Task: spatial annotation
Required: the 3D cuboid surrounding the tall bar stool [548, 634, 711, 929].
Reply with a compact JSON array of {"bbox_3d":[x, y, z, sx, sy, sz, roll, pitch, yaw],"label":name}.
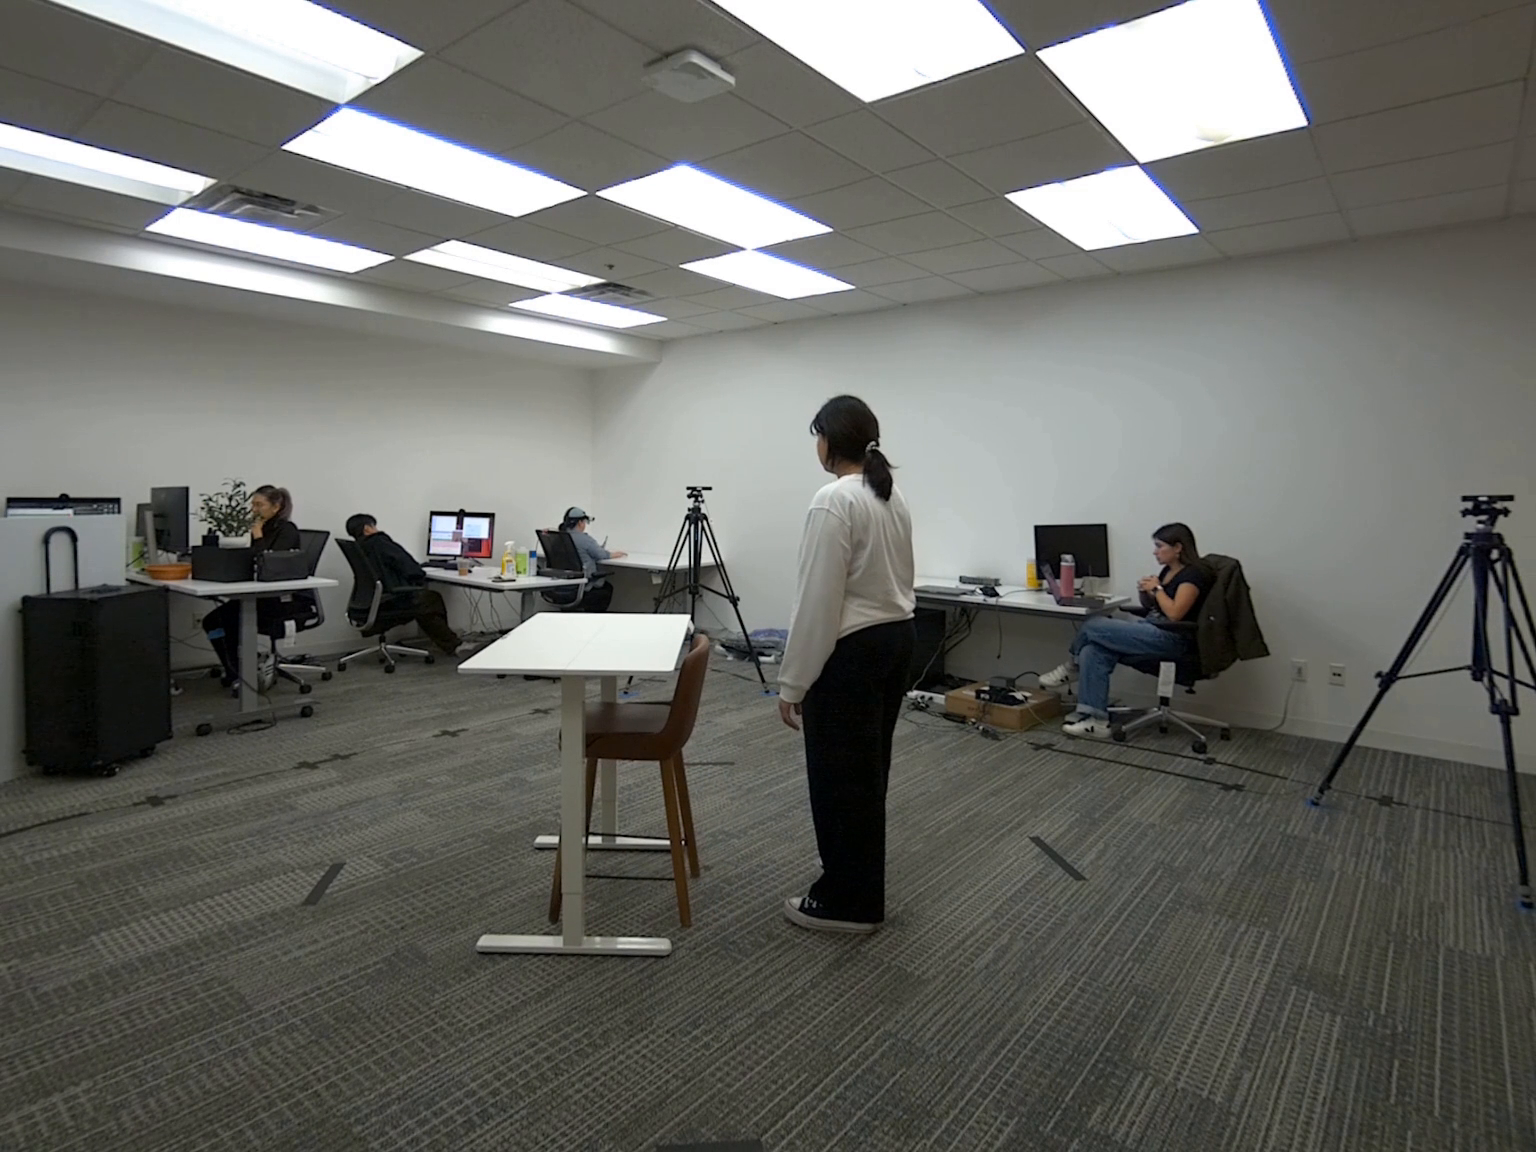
[{"bbox_3d":[-0.454,0.655,2.850,0.470,0.887,0.456,3,3,3],"label":"tall bar stool"}]
